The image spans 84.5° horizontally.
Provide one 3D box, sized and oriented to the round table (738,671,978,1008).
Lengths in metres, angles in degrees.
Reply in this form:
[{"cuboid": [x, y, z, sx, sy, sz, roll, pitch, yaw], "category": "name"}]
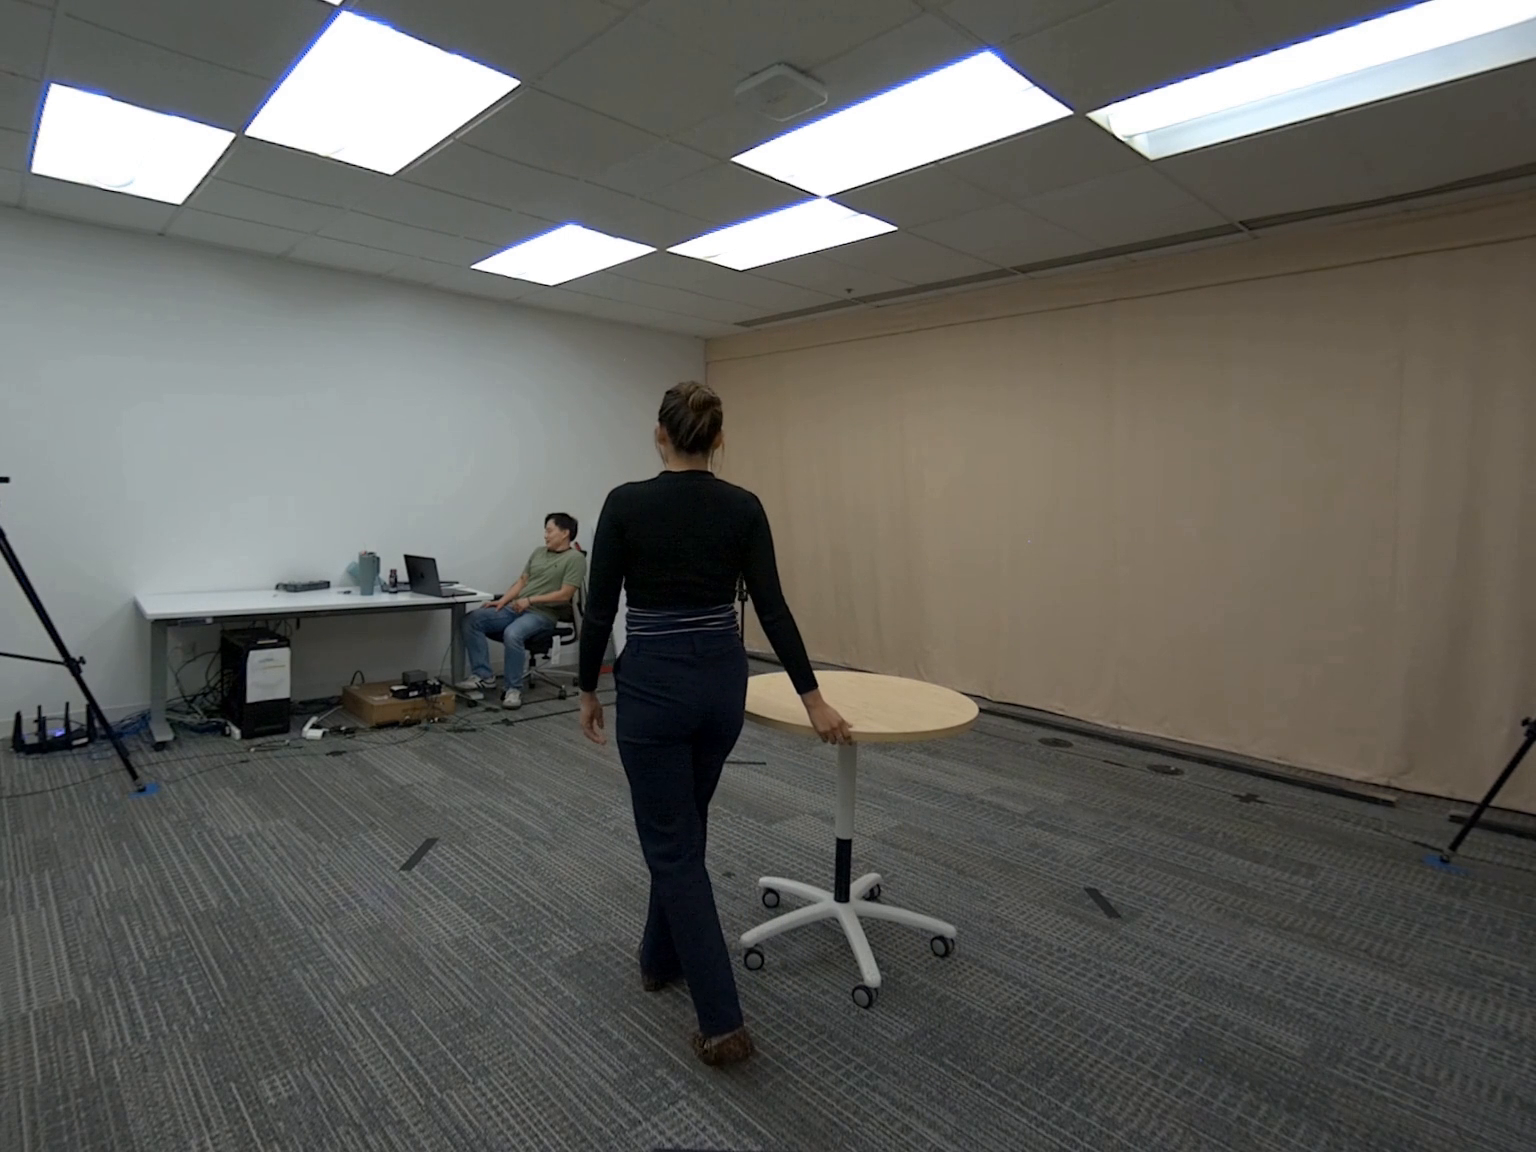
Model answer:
[{"cuboid": [0.240, 0.769, 2.624, 0.763, 0.792, 0.767, 2, 4, -2], "category": "round table"}]
